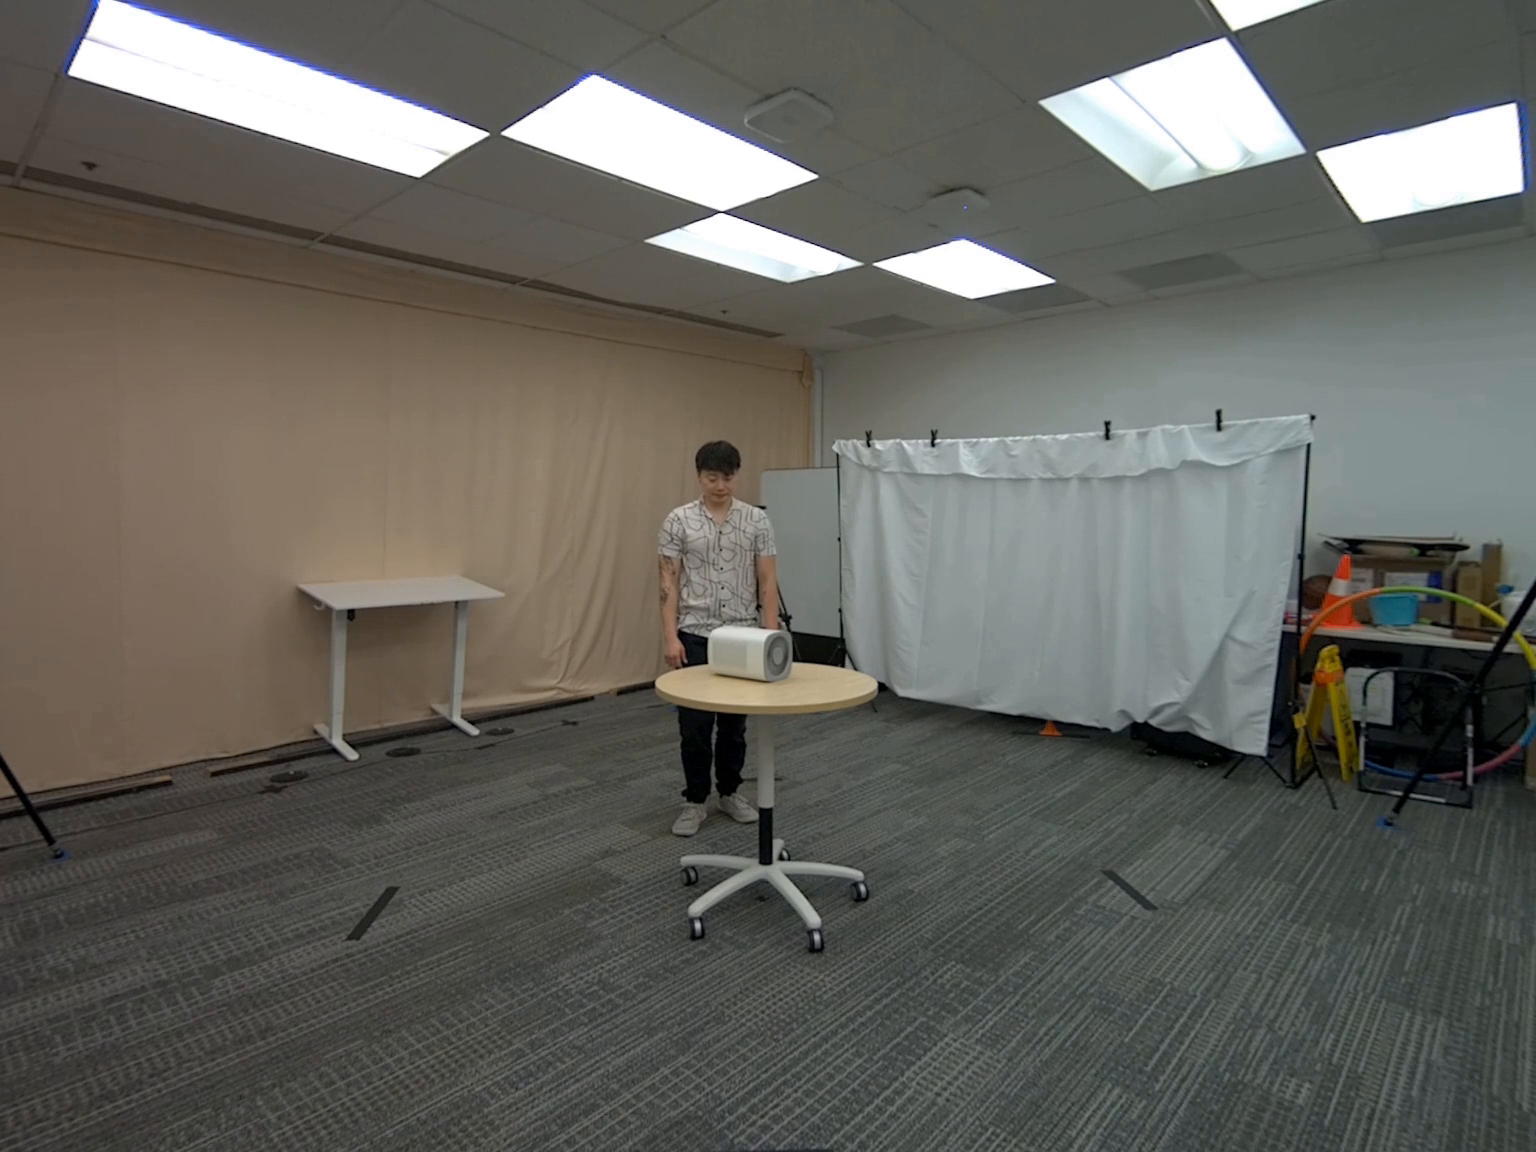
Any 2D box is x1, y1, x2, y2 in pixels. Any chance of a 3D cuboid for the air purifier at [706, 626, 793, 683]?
[{"bbox_3d":[-0.072,0.268,3.003,0.274,0.171,0.166,3,5,37],"label":"air purifier"}]
